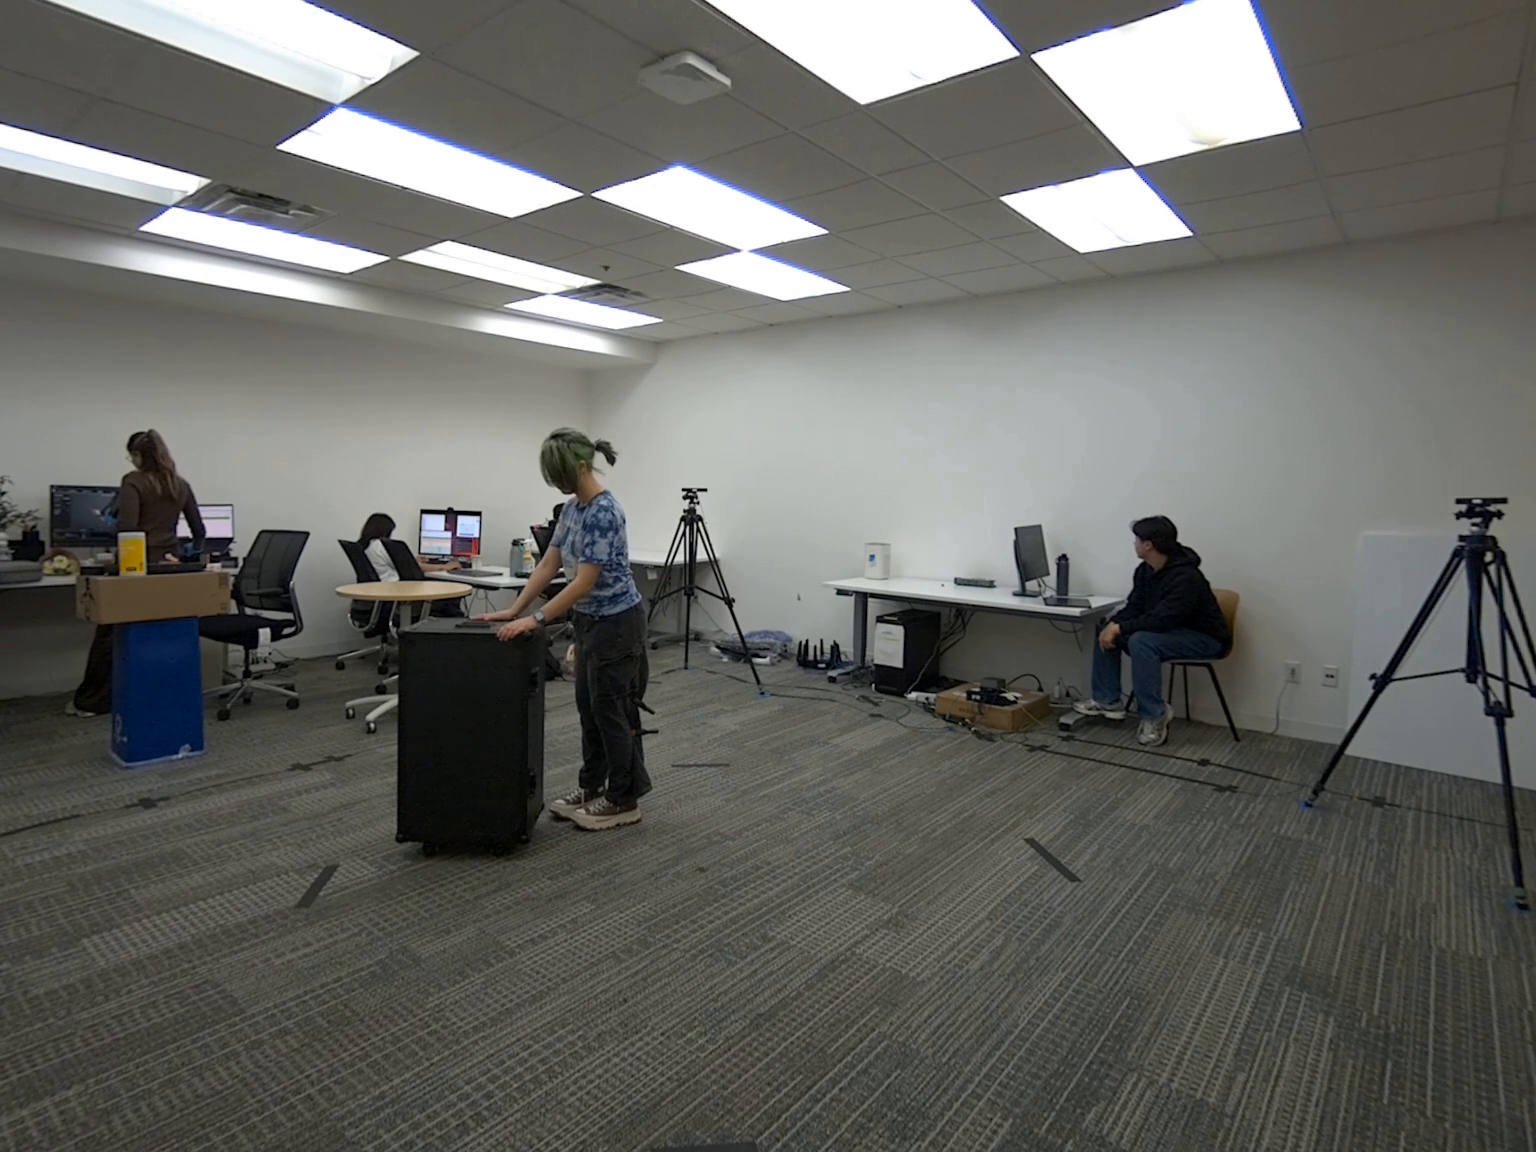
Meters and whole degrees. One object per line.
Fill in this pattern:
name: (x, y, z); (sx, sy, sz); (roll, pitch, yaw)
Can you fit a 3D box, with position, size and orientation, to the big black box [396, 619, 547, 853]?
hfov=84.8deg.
big black box: (-1.157, 0.612, 3.298); (0.520, 0.860, 0.398); (2, 2, -3)
